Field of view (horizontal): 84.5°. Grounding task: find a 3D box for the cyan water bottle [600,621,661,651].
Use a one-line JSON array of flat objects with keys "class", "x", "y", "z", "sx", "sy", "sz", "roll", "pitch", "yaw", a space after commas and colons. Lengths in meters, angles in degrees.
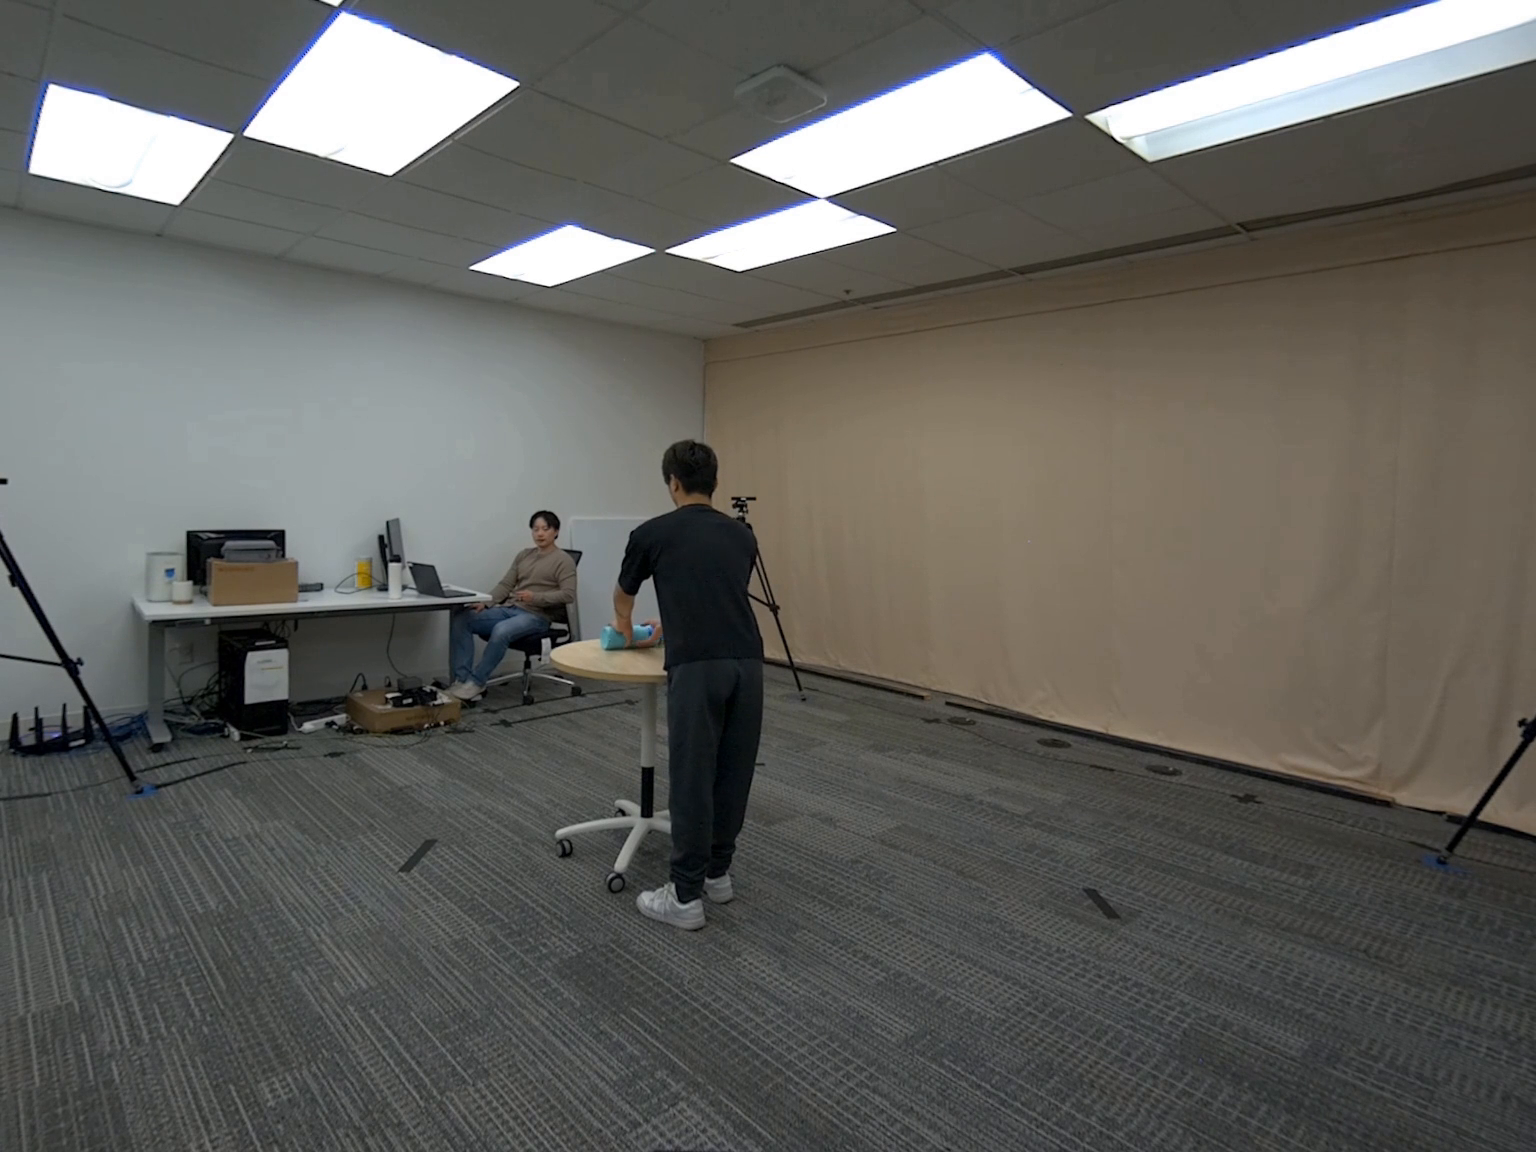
[{"class": "cyan water bottle", "x": -0.532, "y": 0.238, "z": 3.386, "sx": 0.277, "sy": 0.092, "sz": 0.094, "roll": 4, "pitch": 2, "yaw": -28}]
